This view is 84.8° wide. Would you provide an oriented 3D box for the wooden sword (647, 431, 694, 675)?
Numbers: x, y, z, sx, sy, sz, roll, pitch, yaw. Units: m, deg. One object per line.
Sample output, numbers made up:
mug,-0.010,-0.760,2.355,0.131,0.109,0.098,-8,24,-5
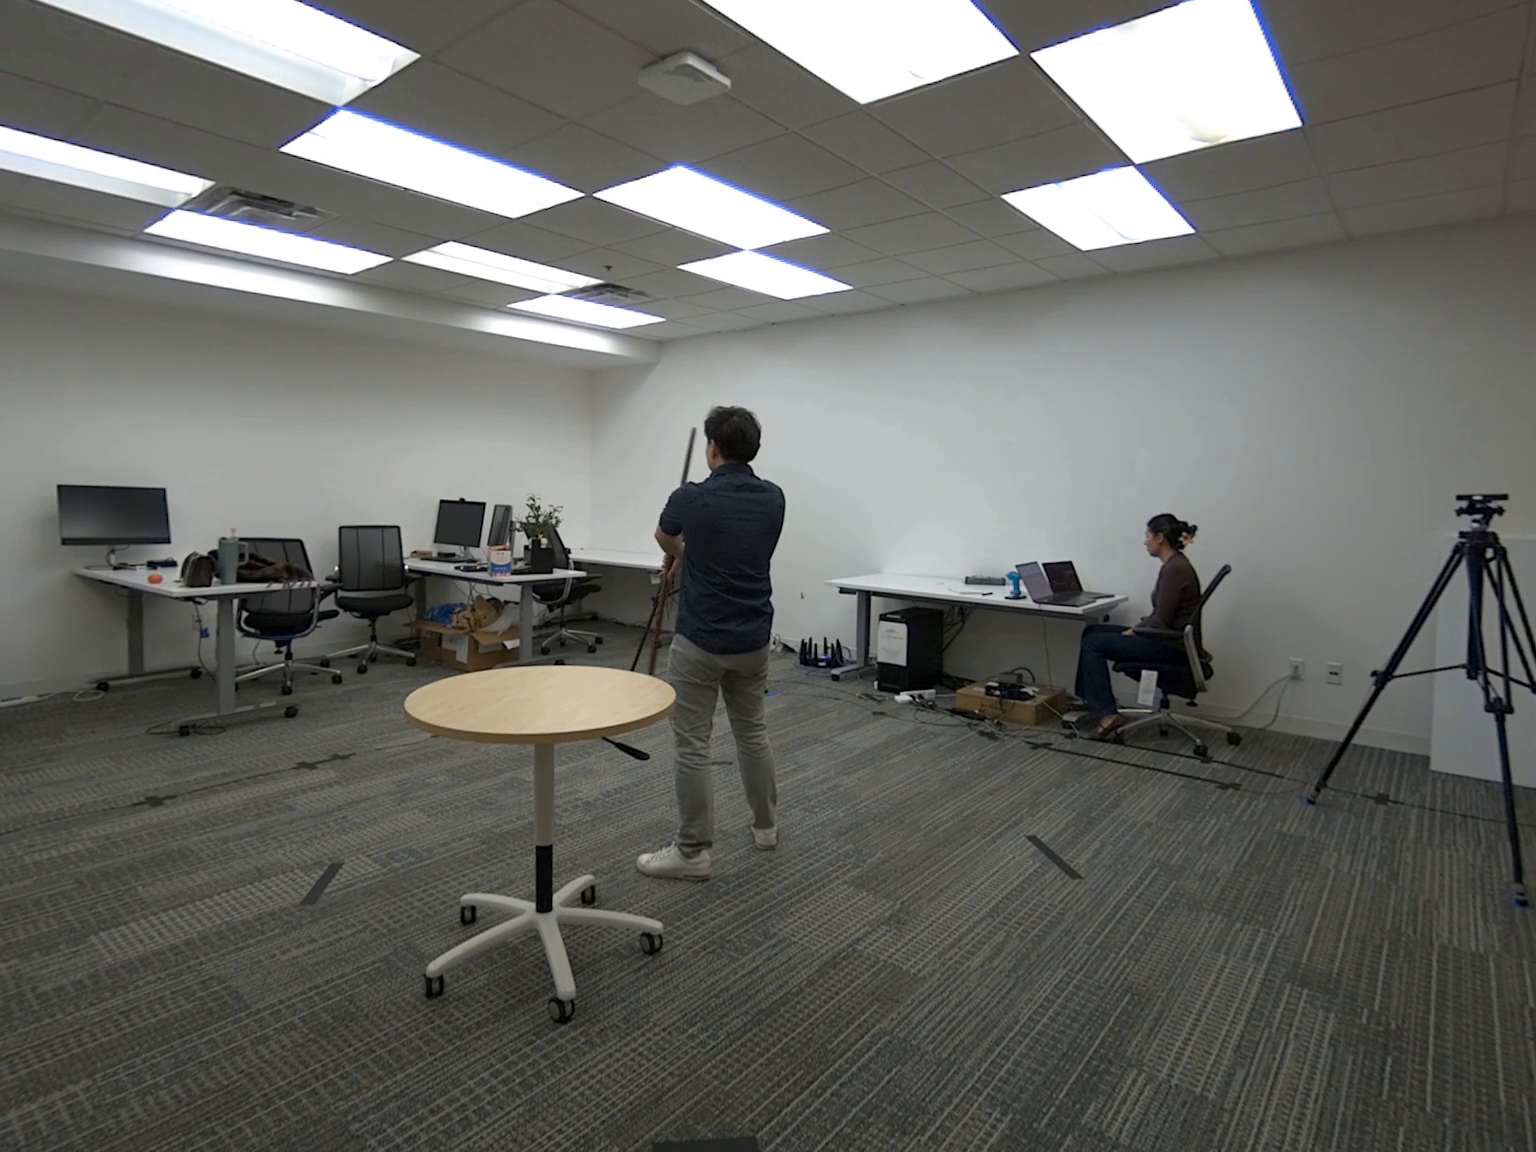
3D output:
wooden sword,-0.423,-0.096,3.506,0.023,1.026,0.053,7,-2,-42
